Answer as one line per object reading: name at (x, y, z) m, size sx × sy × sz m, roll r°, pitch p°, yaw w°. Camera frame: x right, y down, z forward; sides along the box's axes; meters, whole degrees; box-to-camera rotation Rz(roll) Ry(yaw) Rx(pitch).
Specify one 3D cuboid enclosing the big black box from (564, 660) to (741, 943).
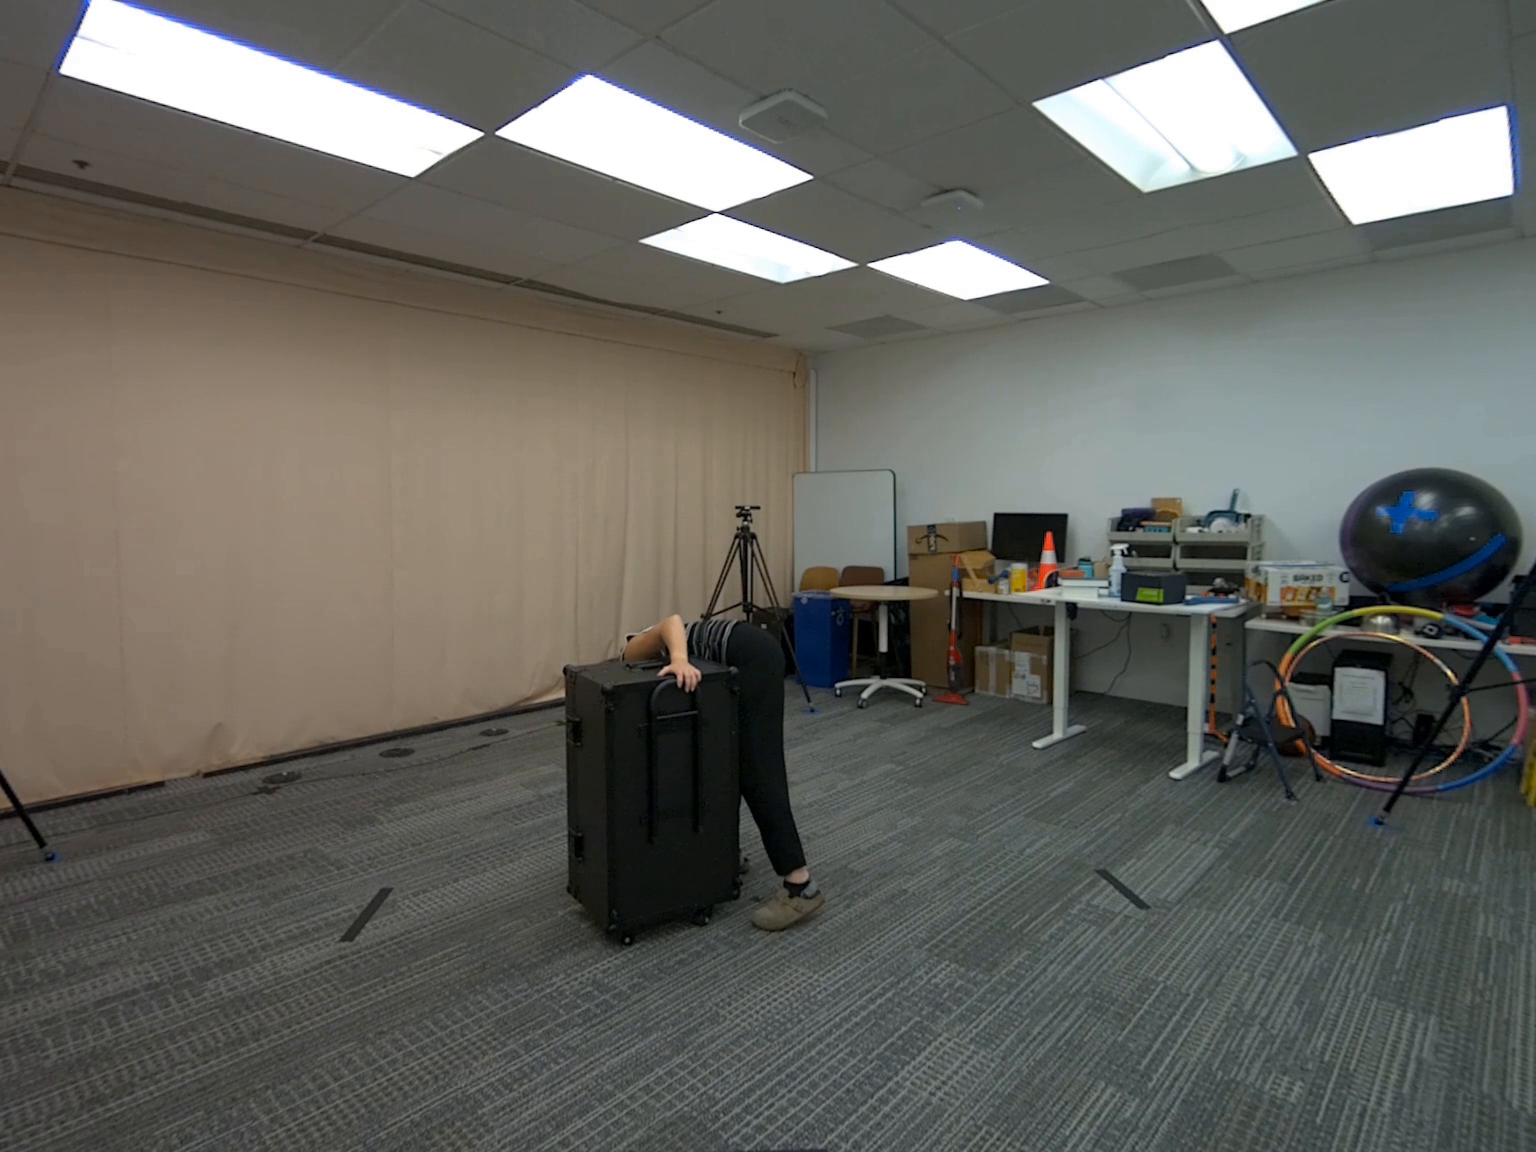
big black box at (-0.386, 0.731, 2.831) m, size 0.507 × 0.859 × 0.408 m, roll -3°, pitch 5°, yaw -31°
